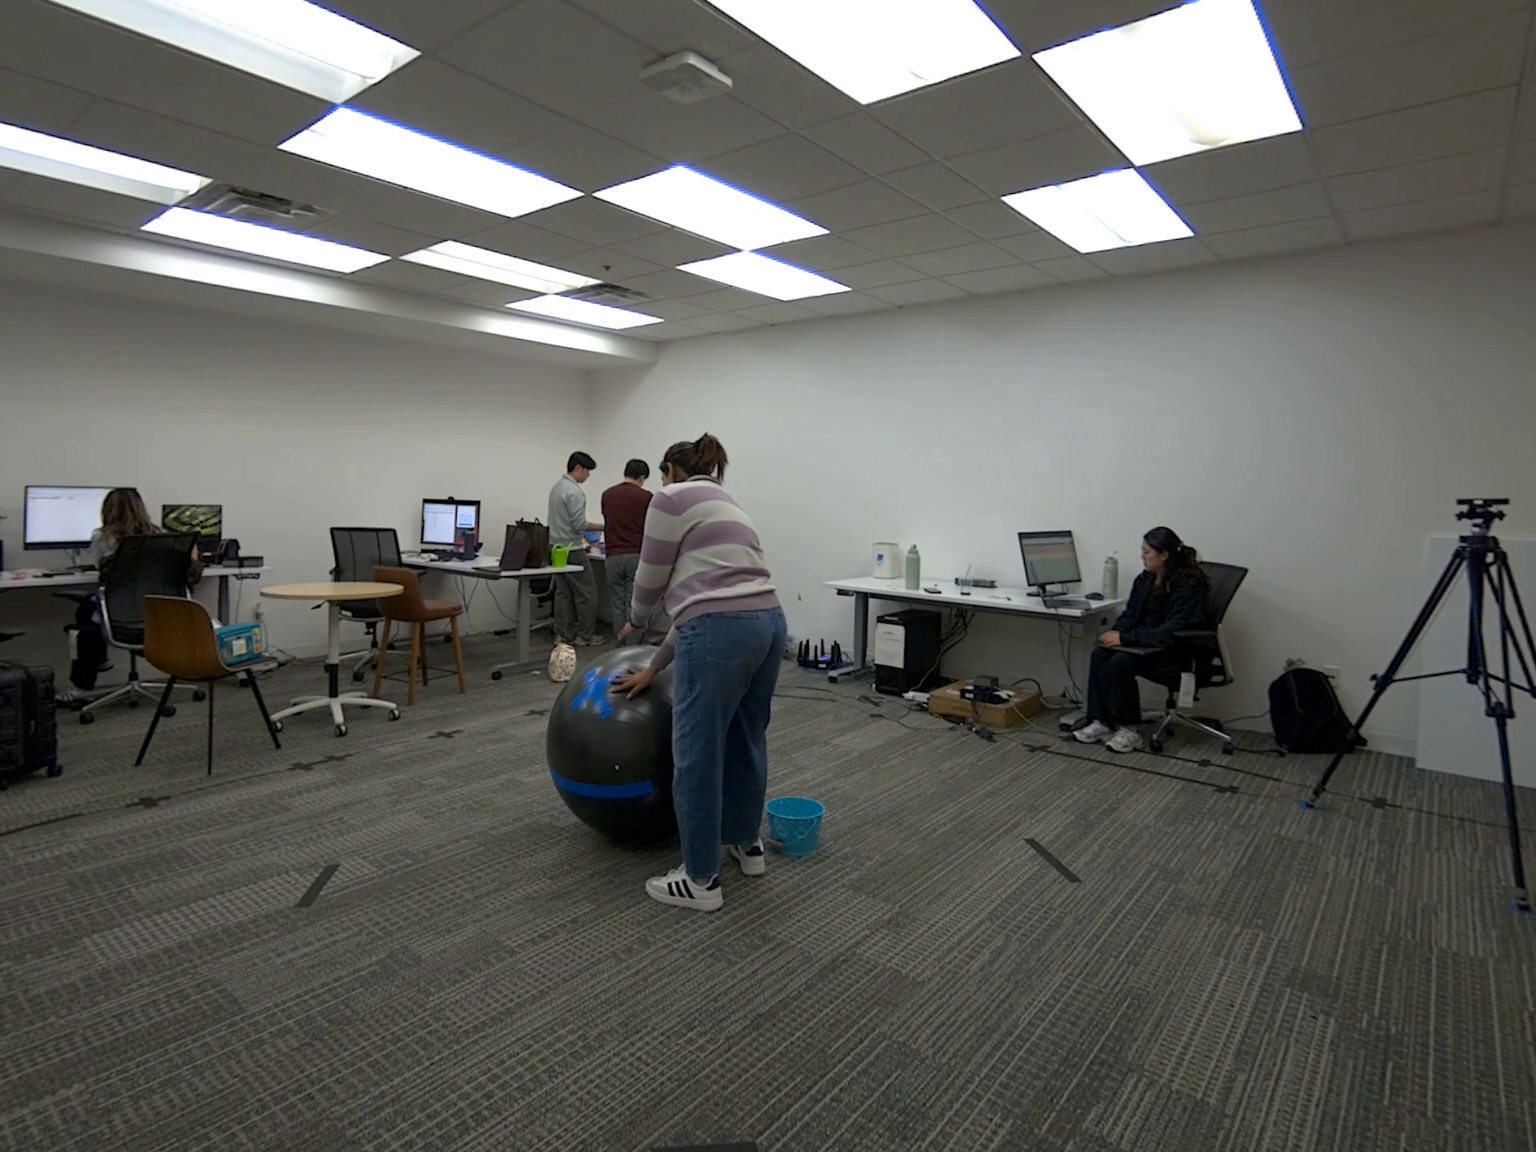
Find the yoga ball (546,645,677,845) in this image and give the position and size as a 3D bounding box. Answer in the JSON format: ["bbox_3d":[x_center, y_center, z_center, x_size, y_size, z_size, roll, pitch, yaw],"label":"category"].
[{"bbox_3d":[-0.526,0.669,3.426,0.757,0.756,0.762,1,4,-2],"label":"yoga ball"}]
